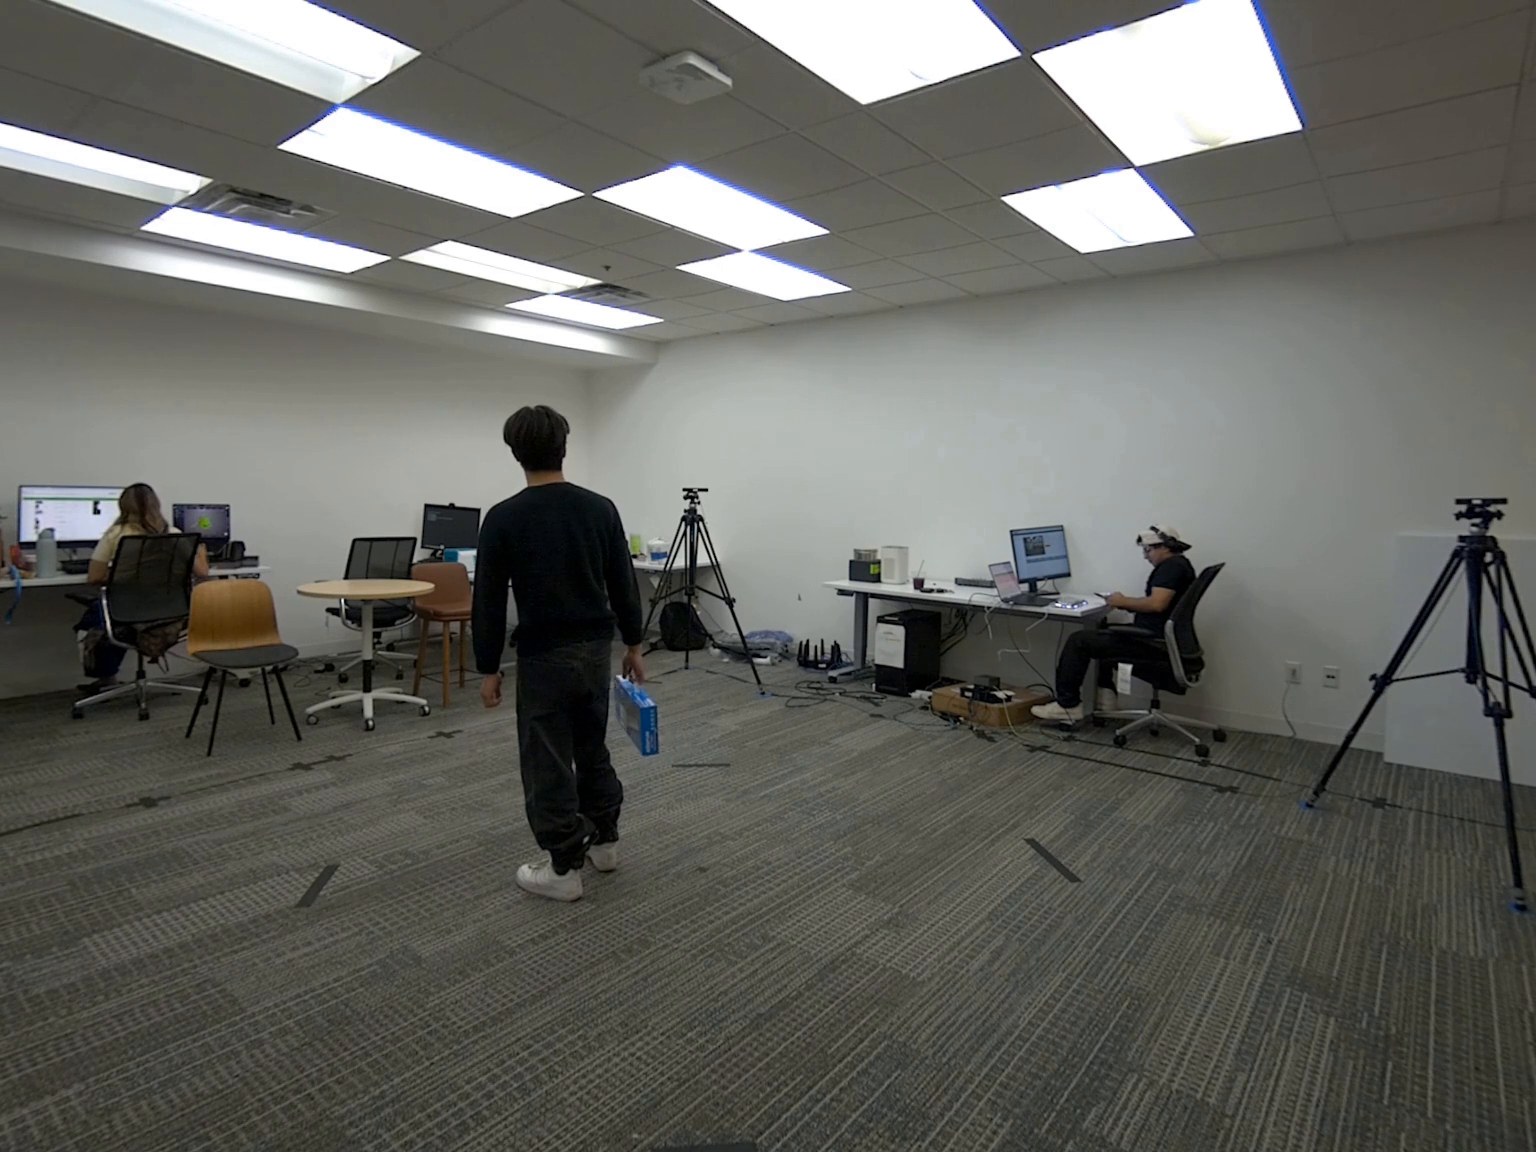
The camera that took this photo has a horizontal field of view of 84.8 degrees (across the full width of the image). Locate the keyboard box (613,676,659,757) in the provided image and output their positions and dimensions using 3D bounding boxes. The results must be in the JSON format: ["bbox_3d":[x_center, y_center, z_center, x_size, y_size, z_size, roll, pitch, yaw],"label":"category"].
[{"bbox_3d":[-0.499,0.493,3.088,0.058,0.175,0.448,-3,9,-21],"label":"keyboard box"}]
